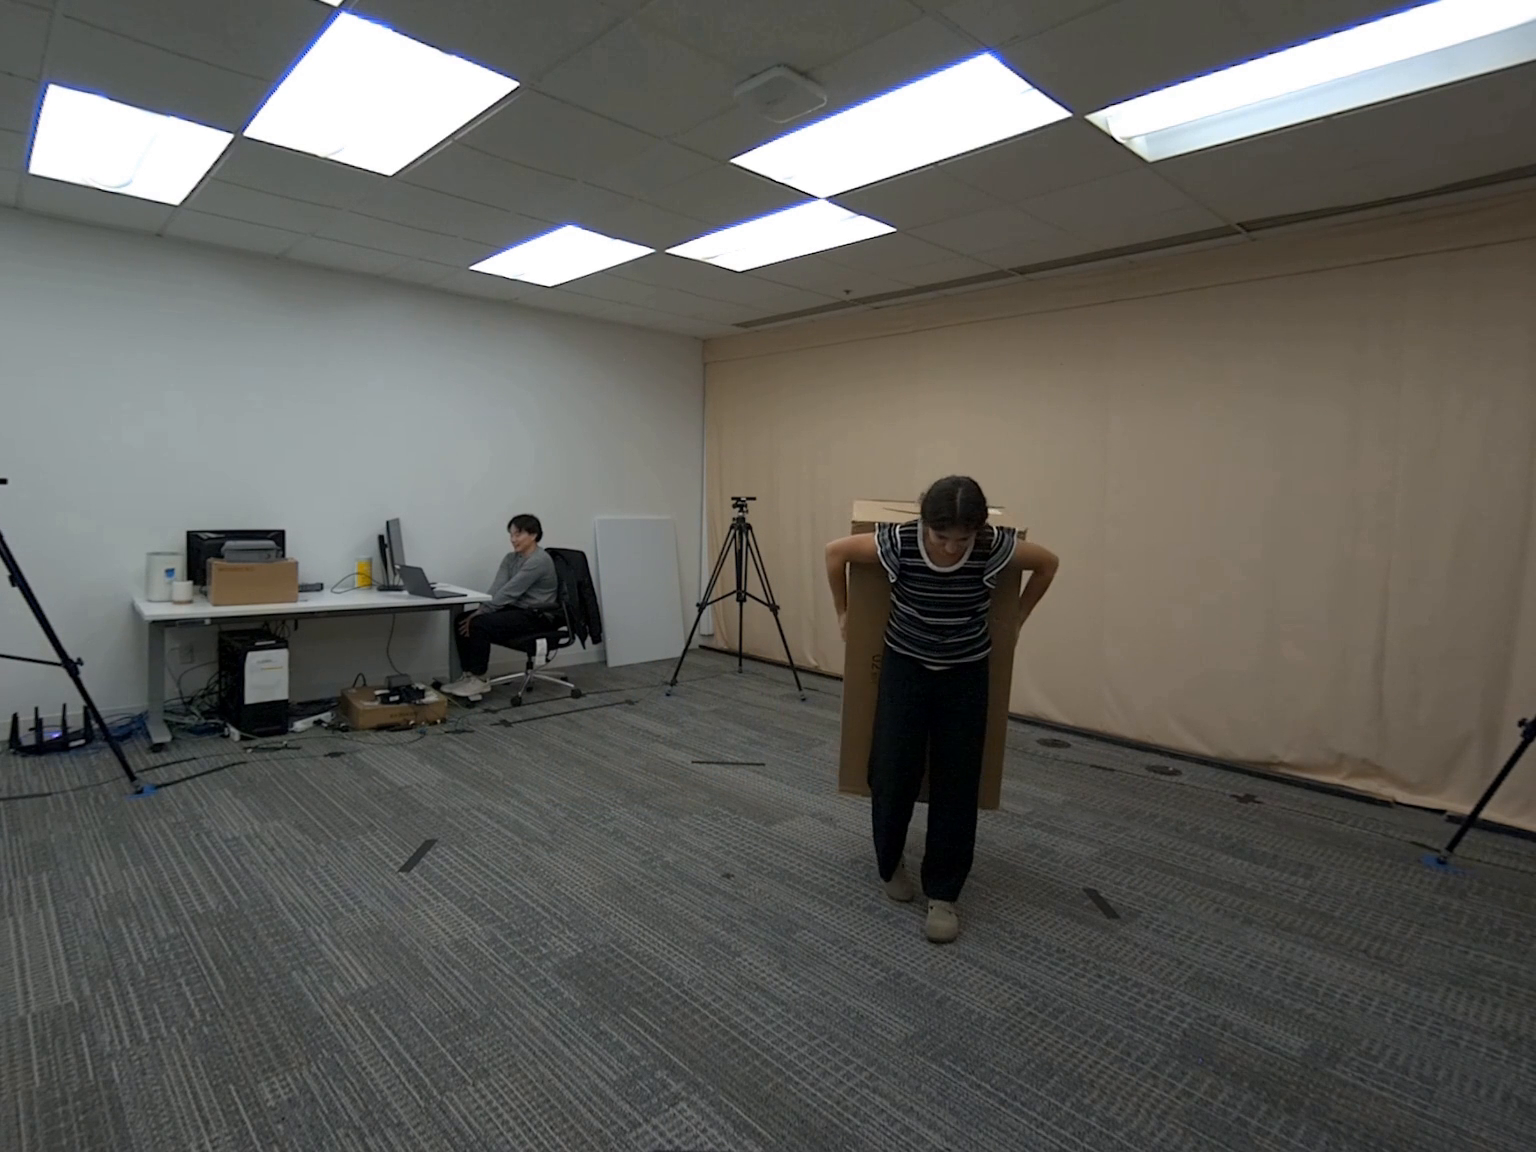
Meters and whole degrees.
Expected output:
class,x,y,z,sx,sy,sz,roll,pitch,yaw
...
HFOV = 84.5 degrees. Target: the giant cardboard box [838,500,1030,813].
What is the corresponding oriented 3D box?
class,x,y,z,sx,sy,sz,roll,pitch,yaw
giant cardboard box,0.572,0.274,3.111,0.581,1.016,0.427,4,13,8
